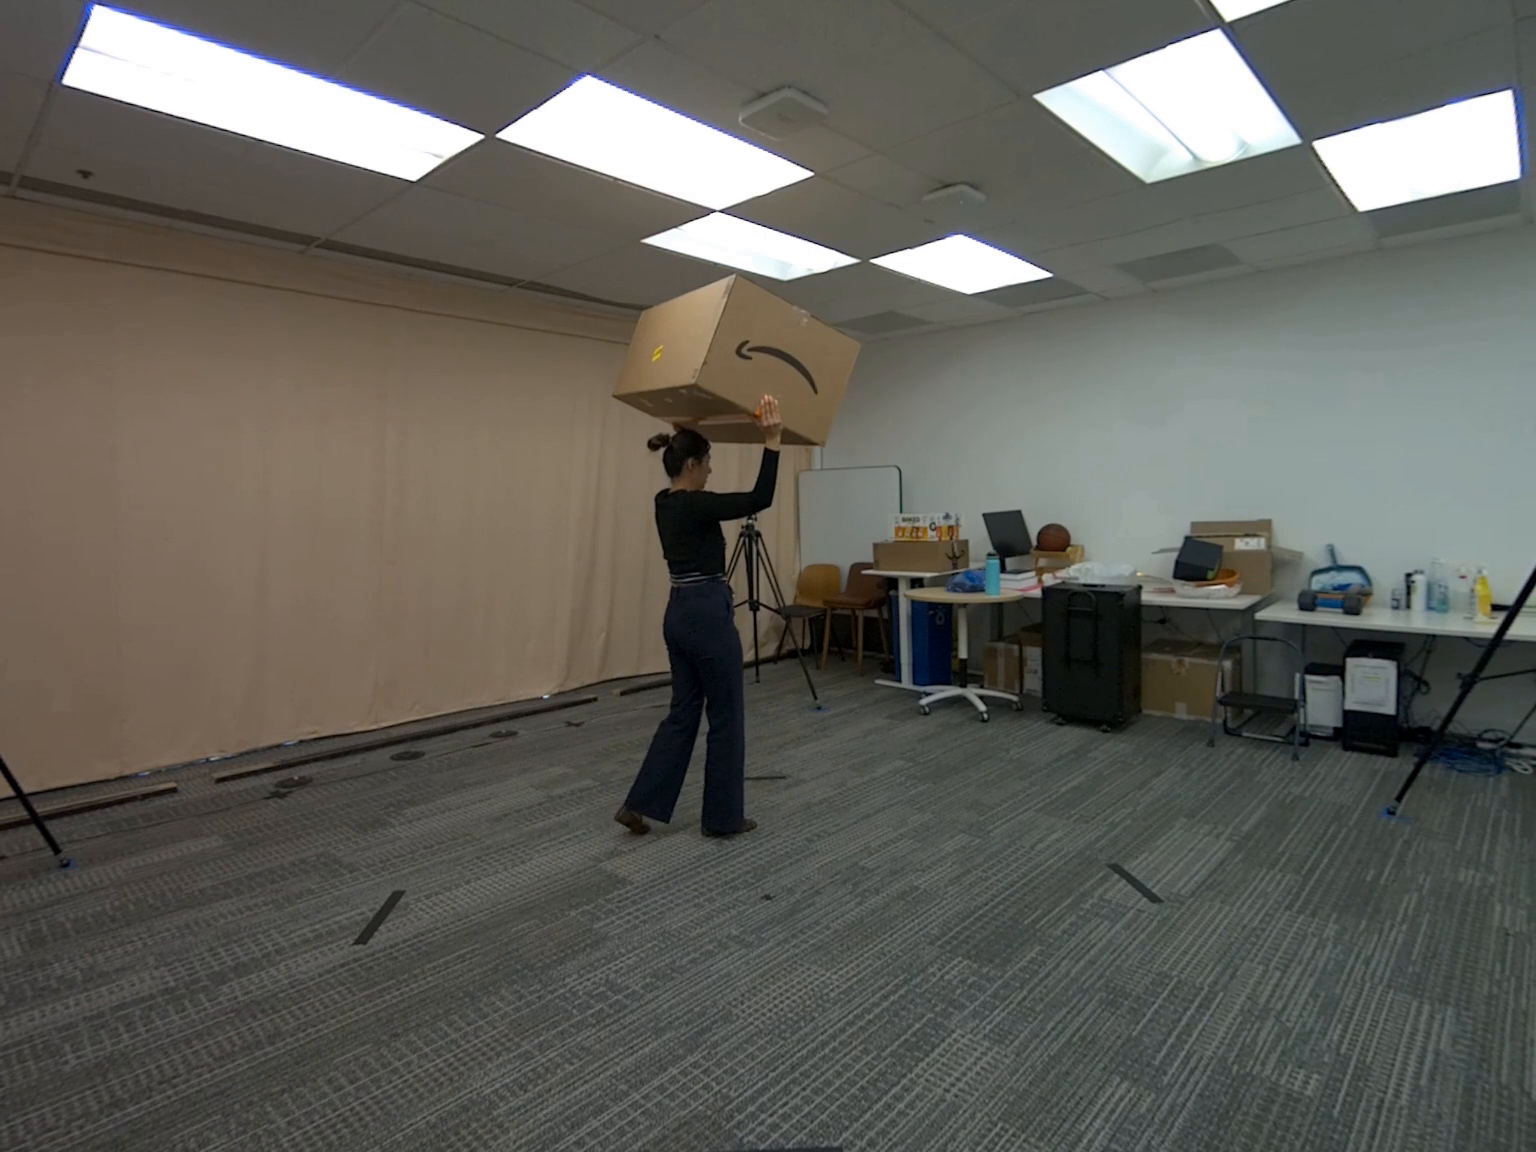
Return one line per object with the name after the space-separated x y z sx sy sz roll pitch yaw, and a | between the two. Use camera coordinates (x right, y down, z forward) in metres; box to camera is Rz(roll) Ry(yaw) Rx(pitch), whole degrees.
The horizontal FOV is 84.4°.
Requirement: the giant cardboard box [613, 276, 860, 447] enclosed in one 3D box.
-0.184 -0.844 3.524 0.561 0.426 1.055 21 -1 -27 | giant cardboard box
